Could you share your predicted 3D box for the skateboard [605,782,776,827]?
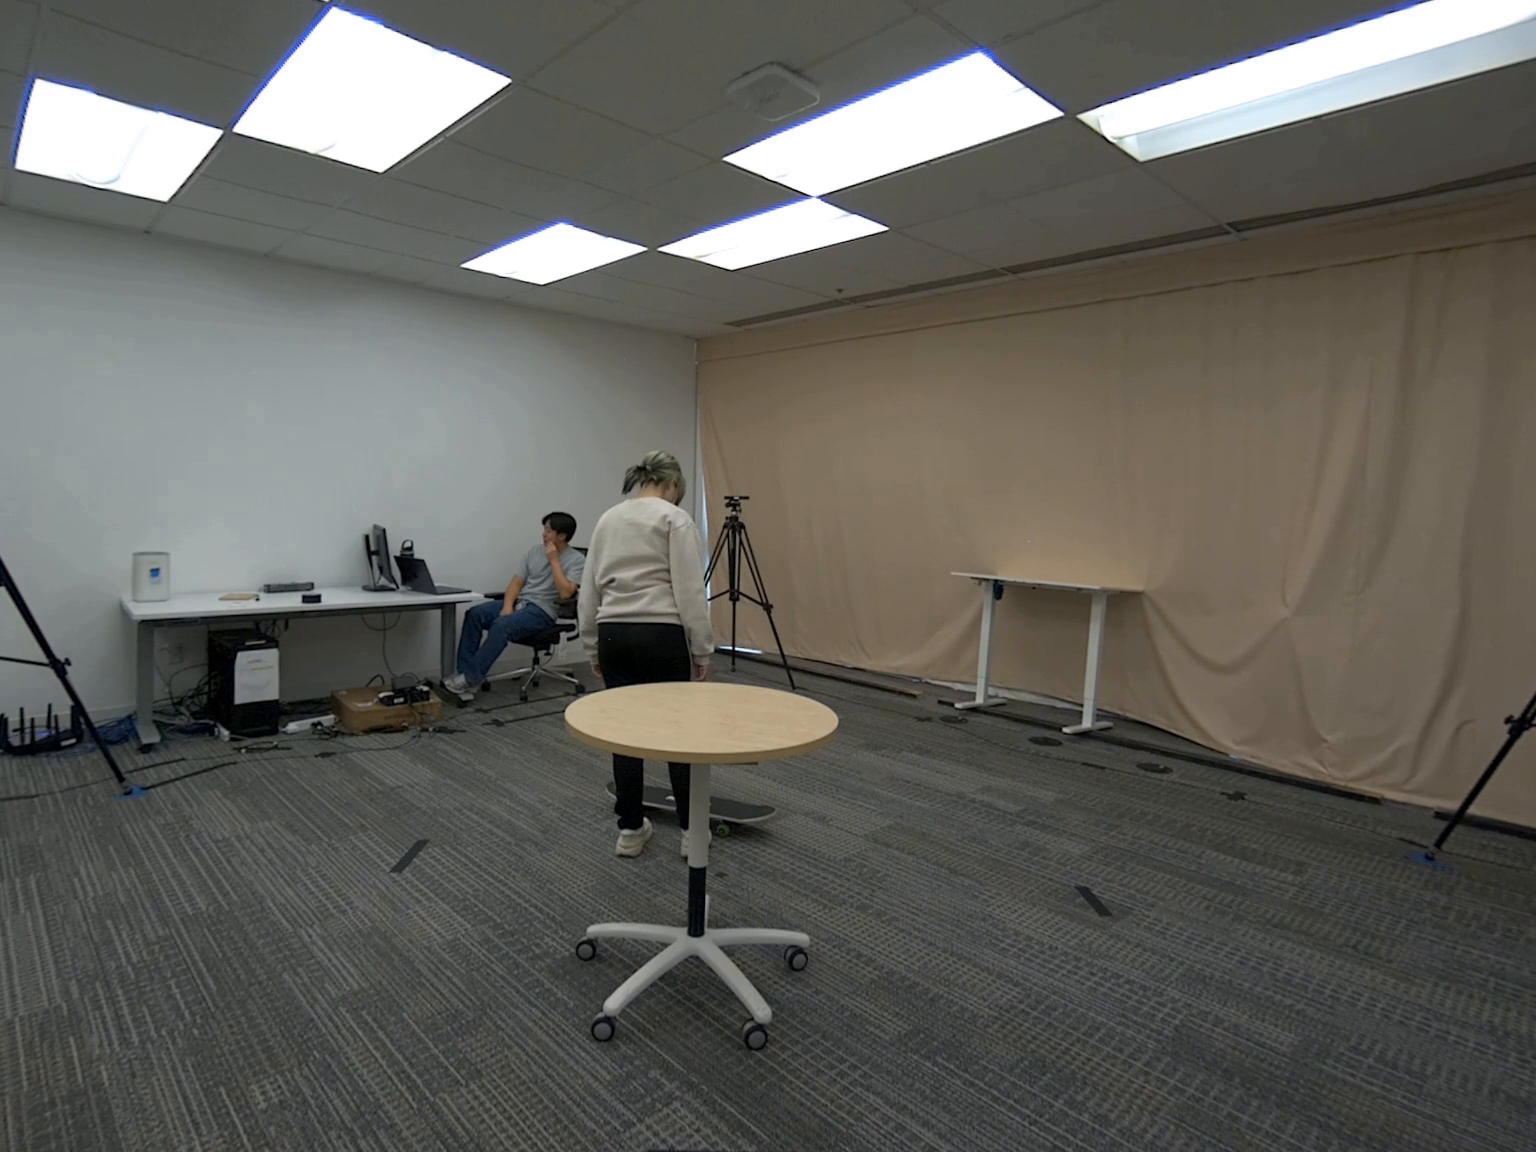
[{"bbox_3d":[-0.353,0.995,3.612,0.800,0.110,0.190,4,5,23],"label":"skateboard"}]
